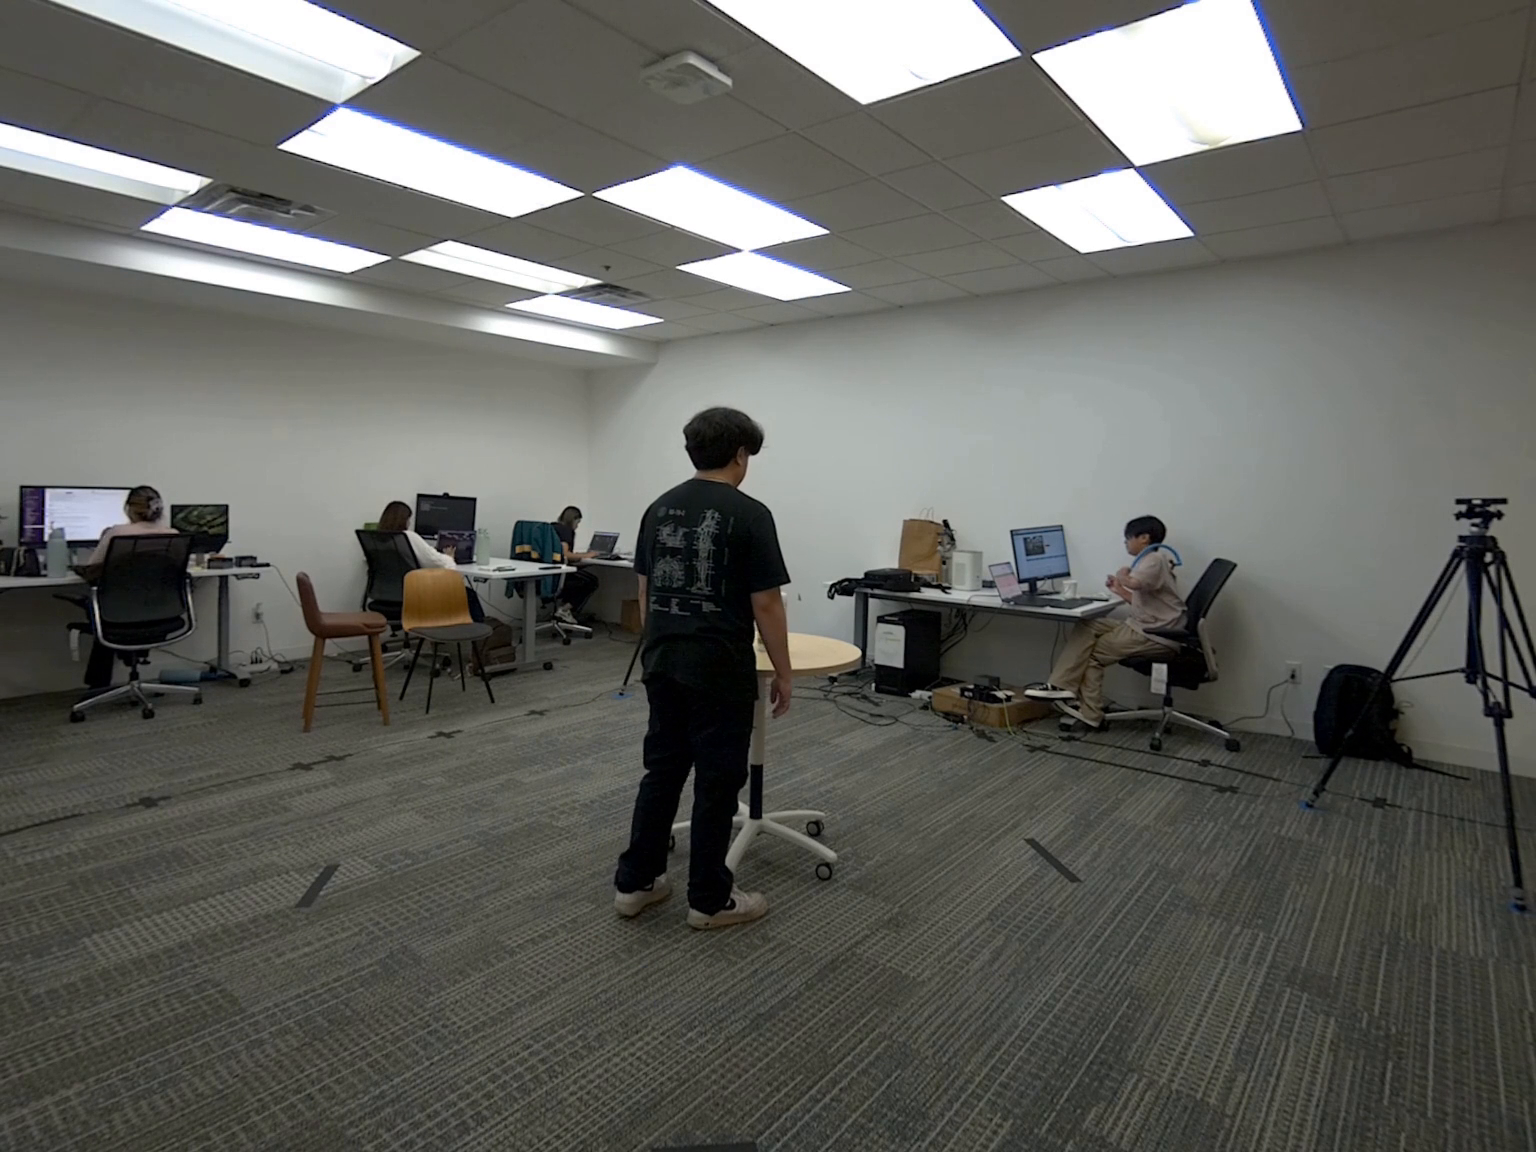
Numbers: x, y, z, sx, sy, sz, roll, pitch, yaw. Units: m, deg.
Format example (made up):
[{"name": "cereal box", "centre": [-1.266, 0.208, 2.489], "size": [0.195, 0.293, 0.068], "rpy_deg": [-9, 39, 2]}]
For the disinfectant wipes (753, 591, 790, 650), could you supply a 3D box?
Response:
[{"name": "disinfectant wipes", "centre": [0.008, 0.164, 3.184], "size": [0.118, 0.217, 0.118], "rpy_deg": [0, 3, -2]}]
